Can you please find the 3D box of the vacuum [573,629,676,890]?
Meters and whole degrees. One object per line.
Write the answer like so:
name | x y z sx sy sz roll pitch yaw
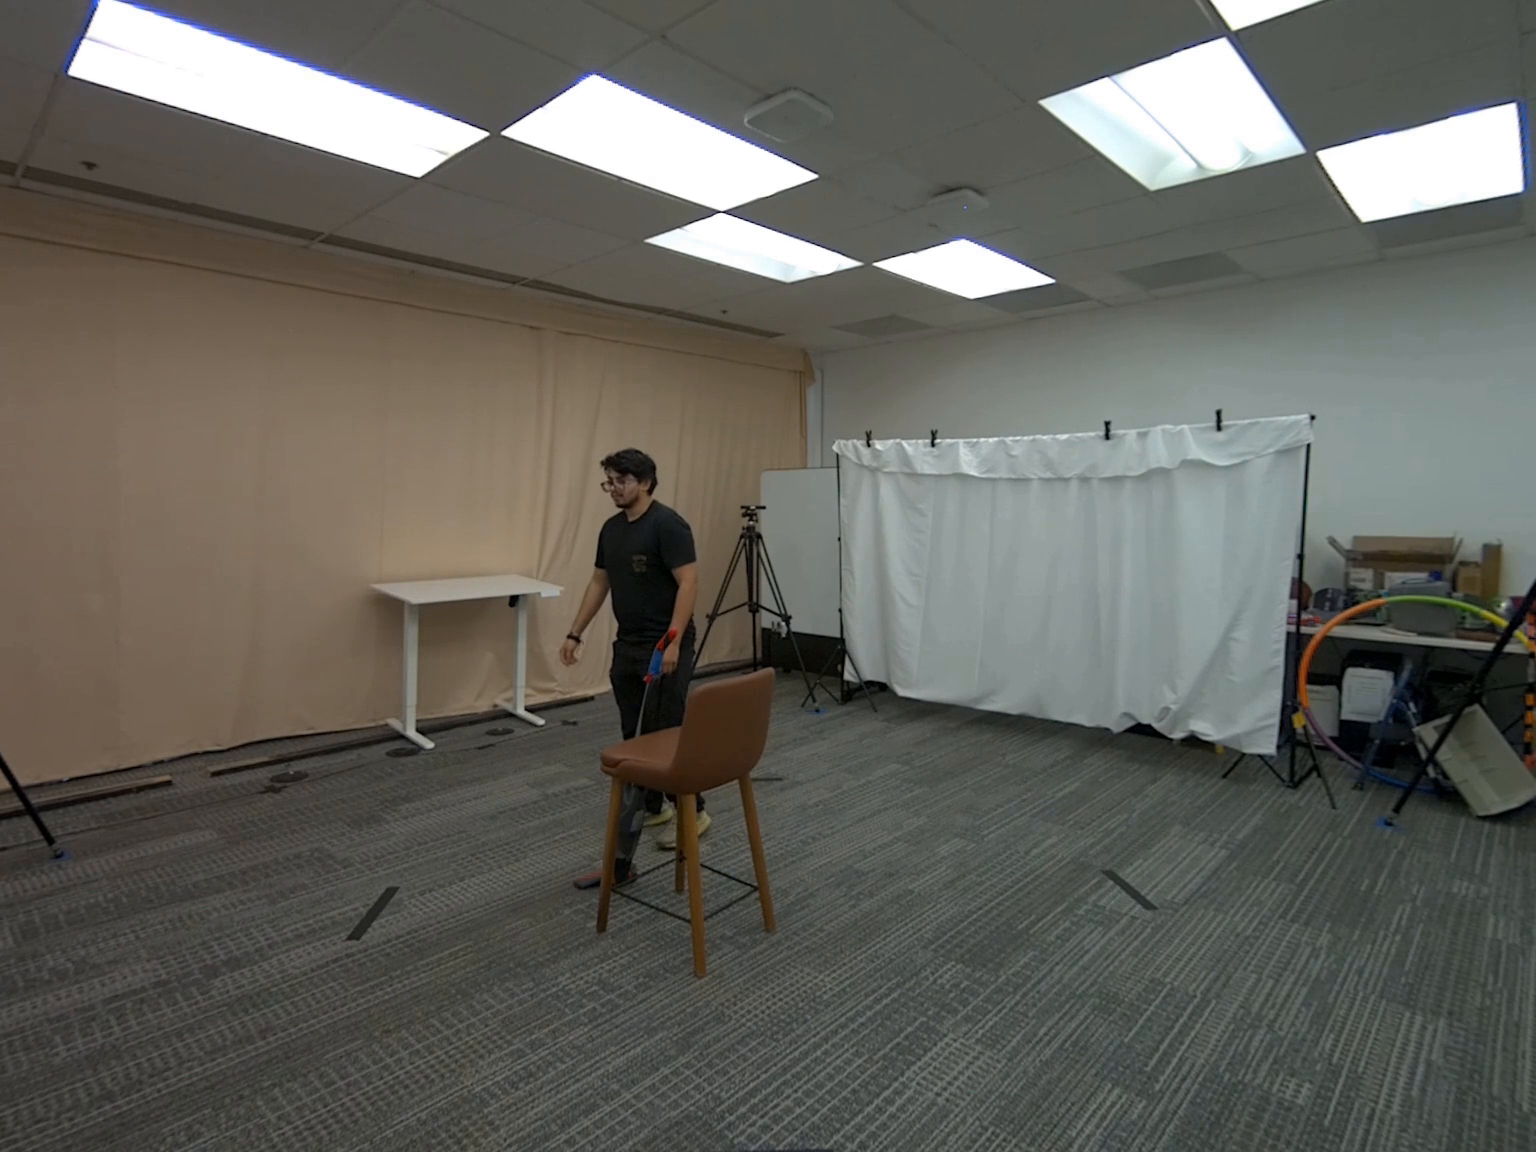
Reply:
vacuum | -0.458 0.657 2.975 0.245 1.044 0.149 -1 25 -44
